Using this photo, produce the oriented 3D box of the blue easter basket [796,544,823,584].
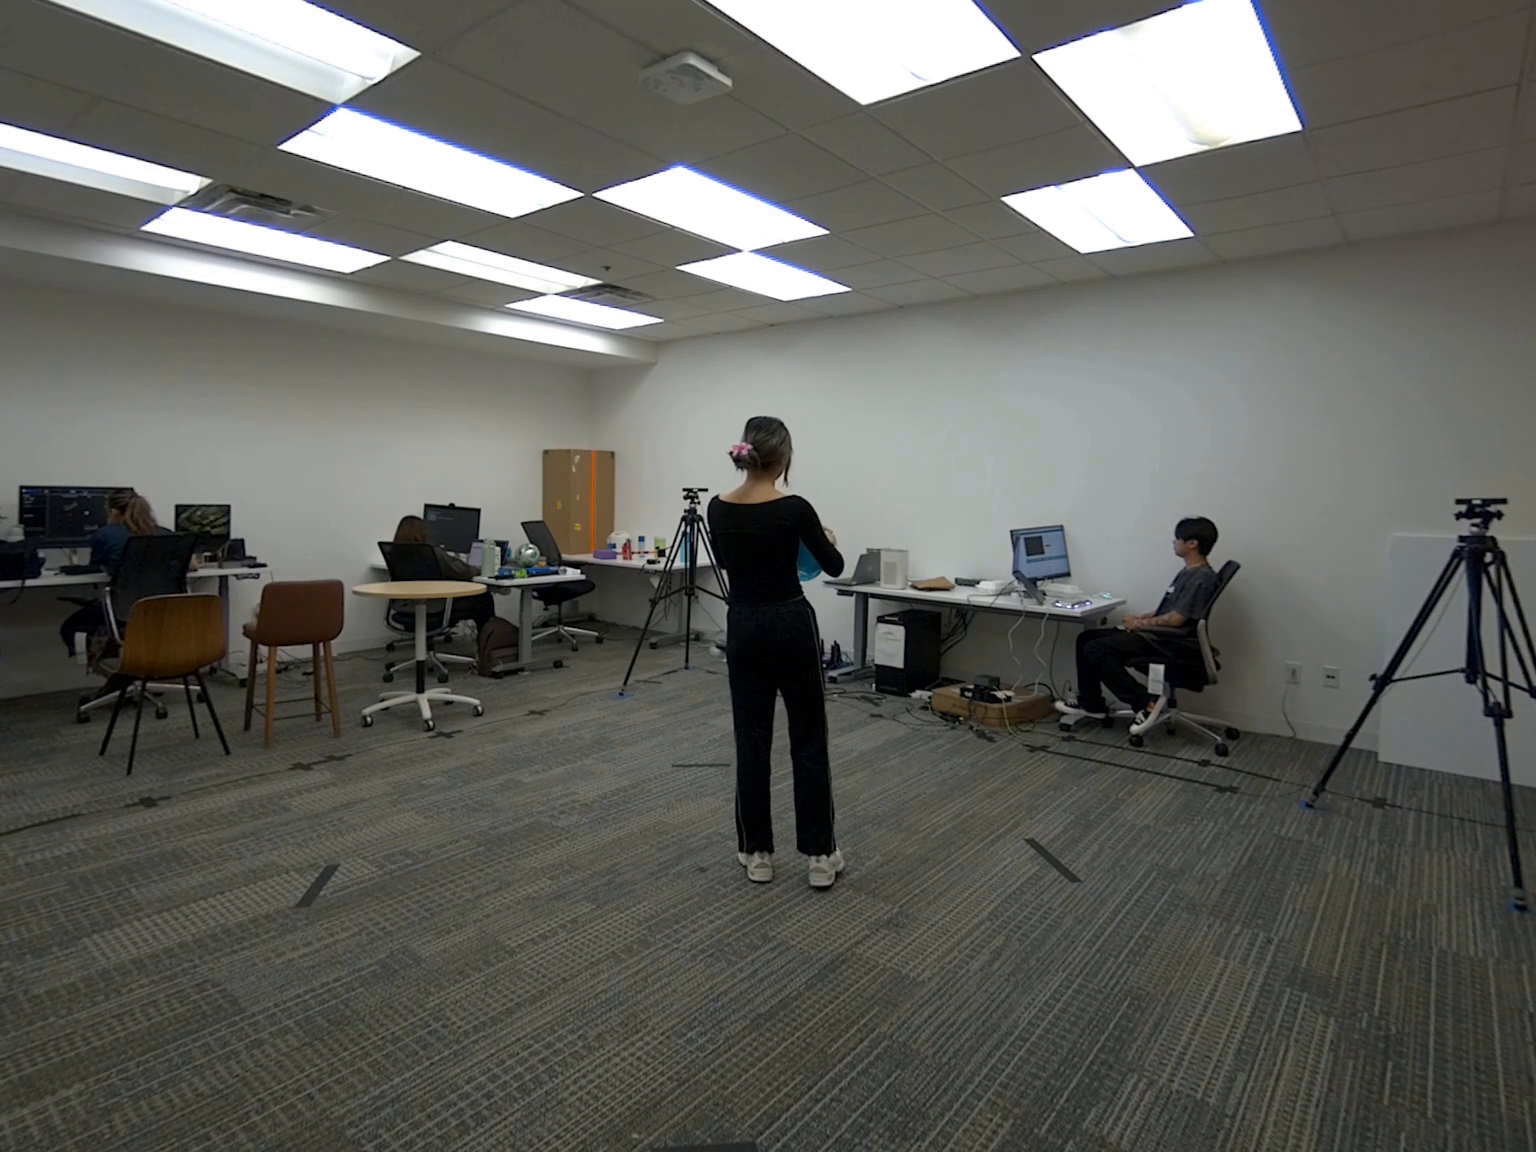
[{"bbox_3d":[0.145,-0.112,3.499,0.250,0.241,0.154,3,11,24],"label":"blue easter basket"}]
